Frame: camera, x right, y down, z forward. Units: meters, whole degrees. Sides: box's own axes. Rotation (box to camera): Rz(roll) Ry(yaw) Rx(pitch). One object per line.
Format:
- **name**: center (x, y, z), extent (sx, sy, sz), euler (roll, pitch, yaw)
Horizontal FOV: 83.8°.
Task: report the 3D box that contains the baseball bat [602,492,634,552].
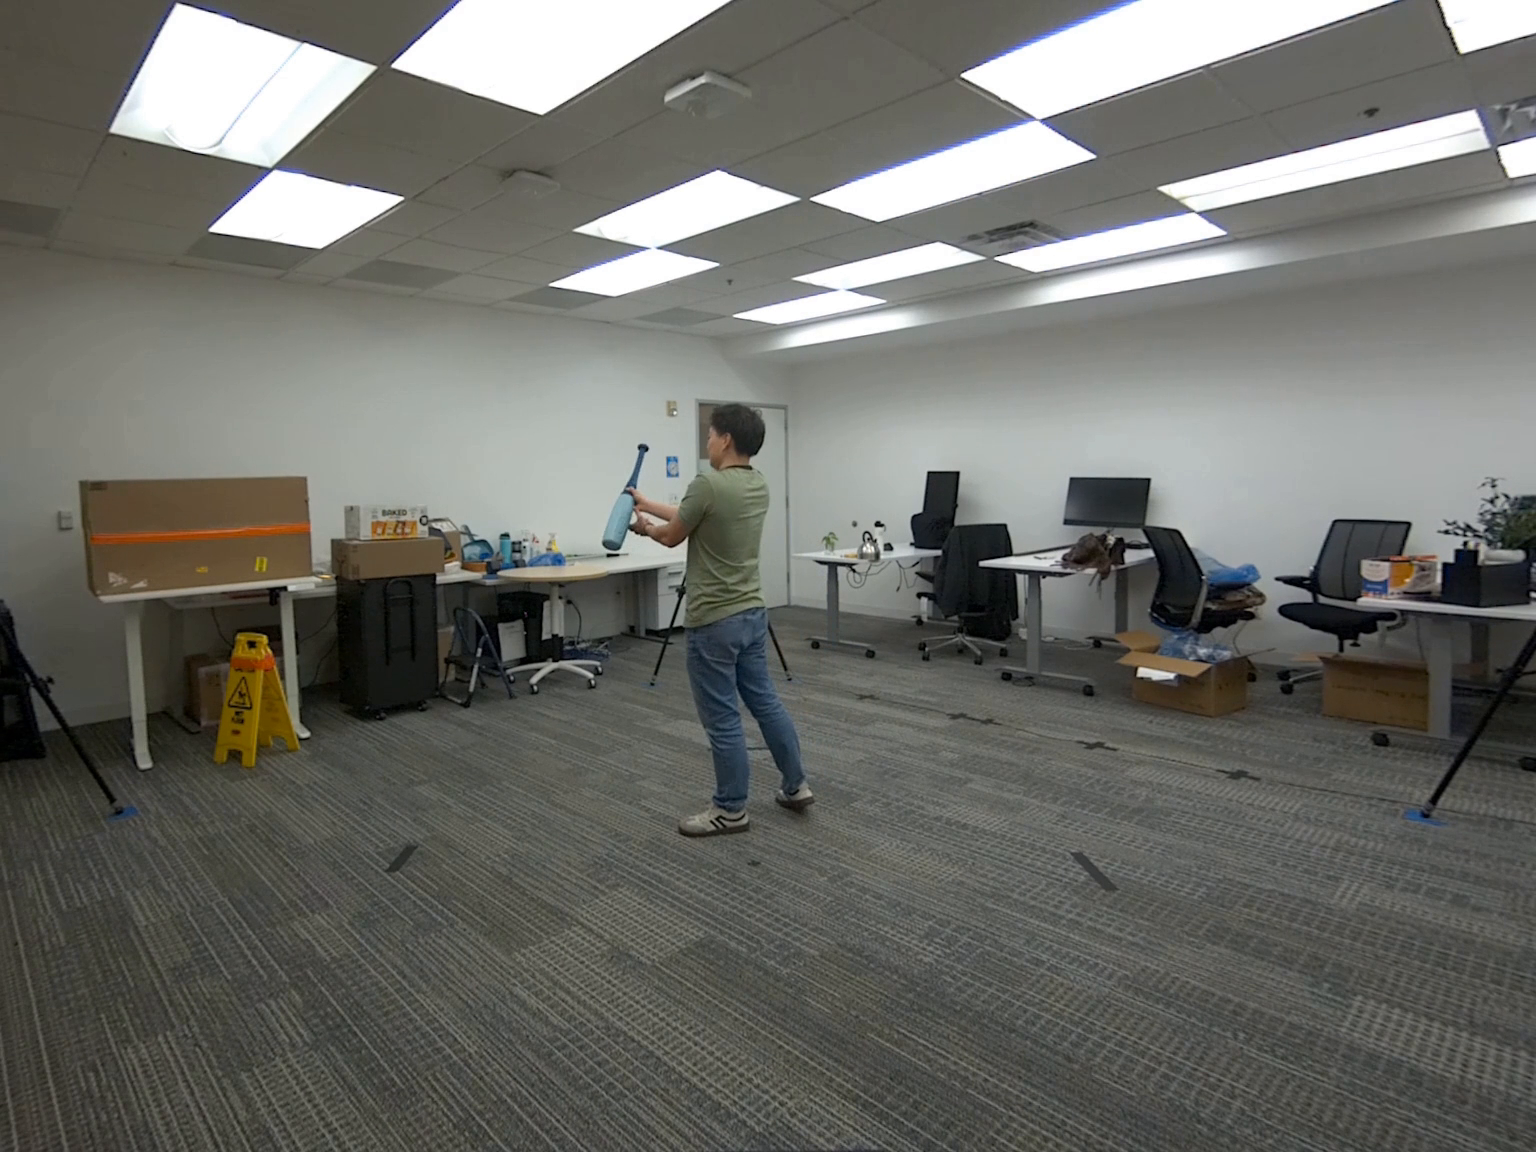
- **baseball bat**: center (-0.592, -0.355, 3.656), extent (0.089, 0.553, 0.087), euler (9, -31, 4)
